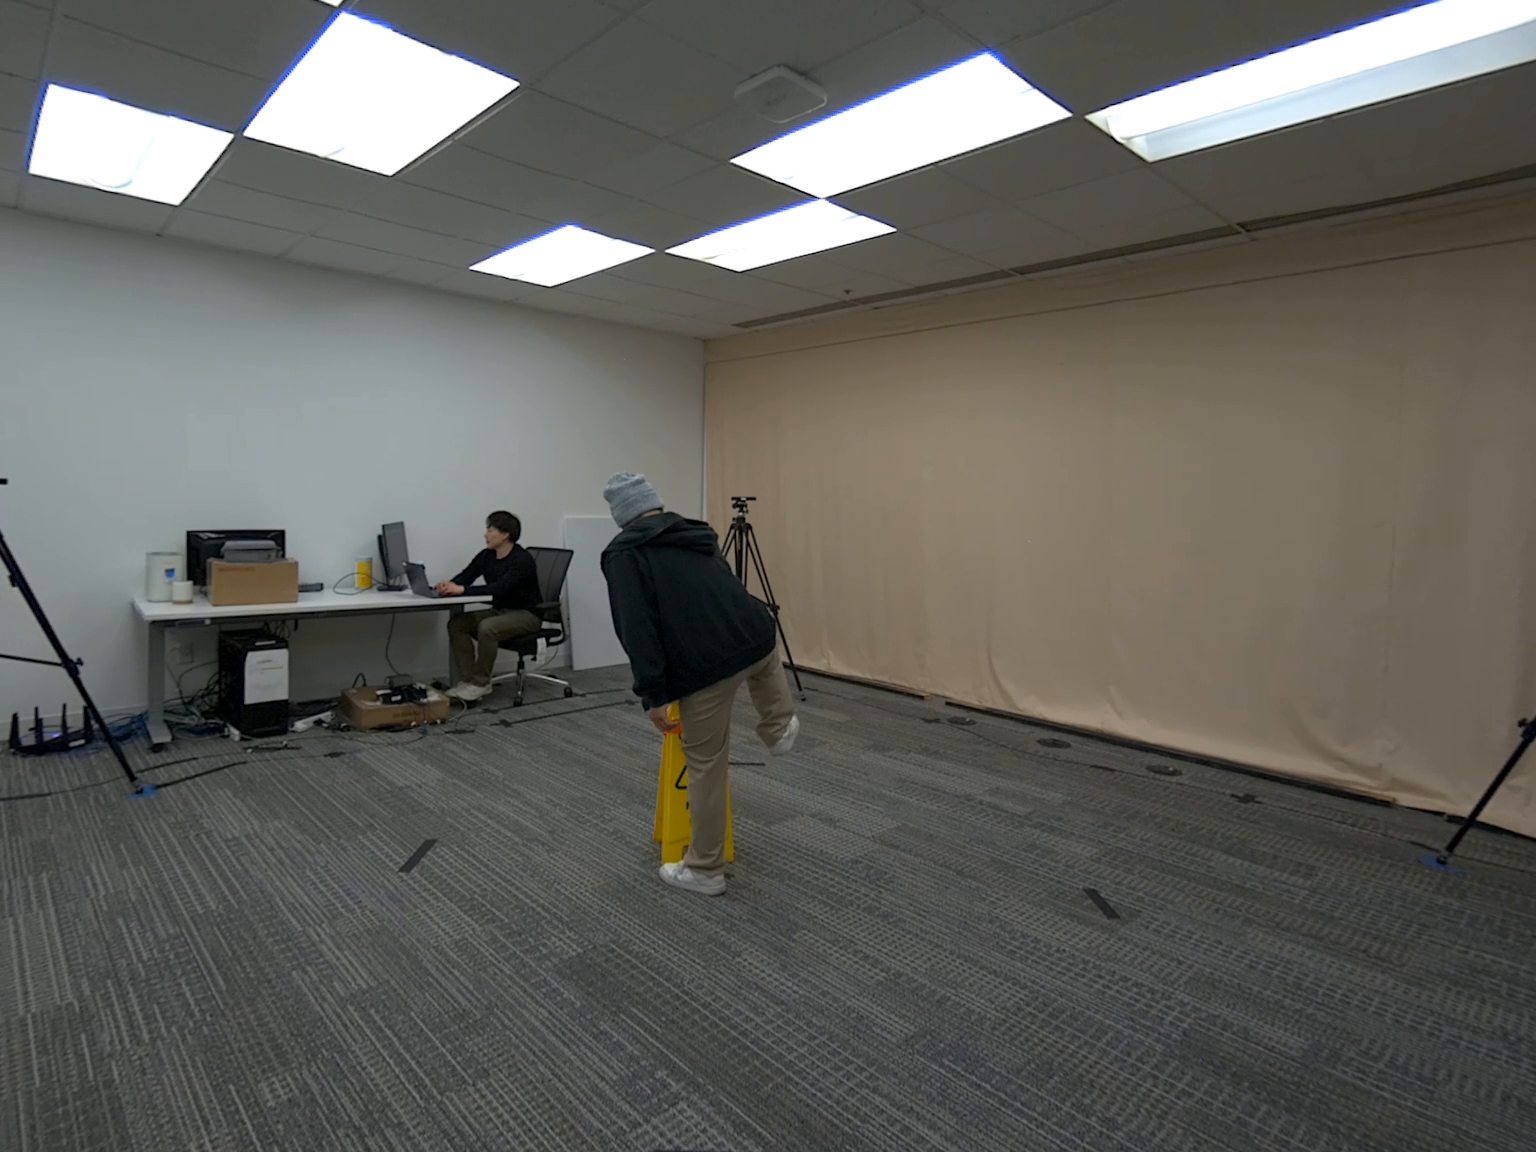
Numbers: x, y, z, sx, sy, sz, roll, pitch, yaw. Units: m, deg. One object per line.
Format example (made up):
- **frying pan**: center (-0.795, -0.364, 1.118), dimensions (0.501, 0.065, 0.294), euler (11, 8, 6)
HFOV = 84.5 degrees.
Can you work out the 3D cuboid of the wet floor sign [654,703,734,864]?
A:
- **wet floor sign**: center (-0.300, 0.764, 3.301), dimensions (0.279, 0.645, 0.293), euler (1, 2, -13)
